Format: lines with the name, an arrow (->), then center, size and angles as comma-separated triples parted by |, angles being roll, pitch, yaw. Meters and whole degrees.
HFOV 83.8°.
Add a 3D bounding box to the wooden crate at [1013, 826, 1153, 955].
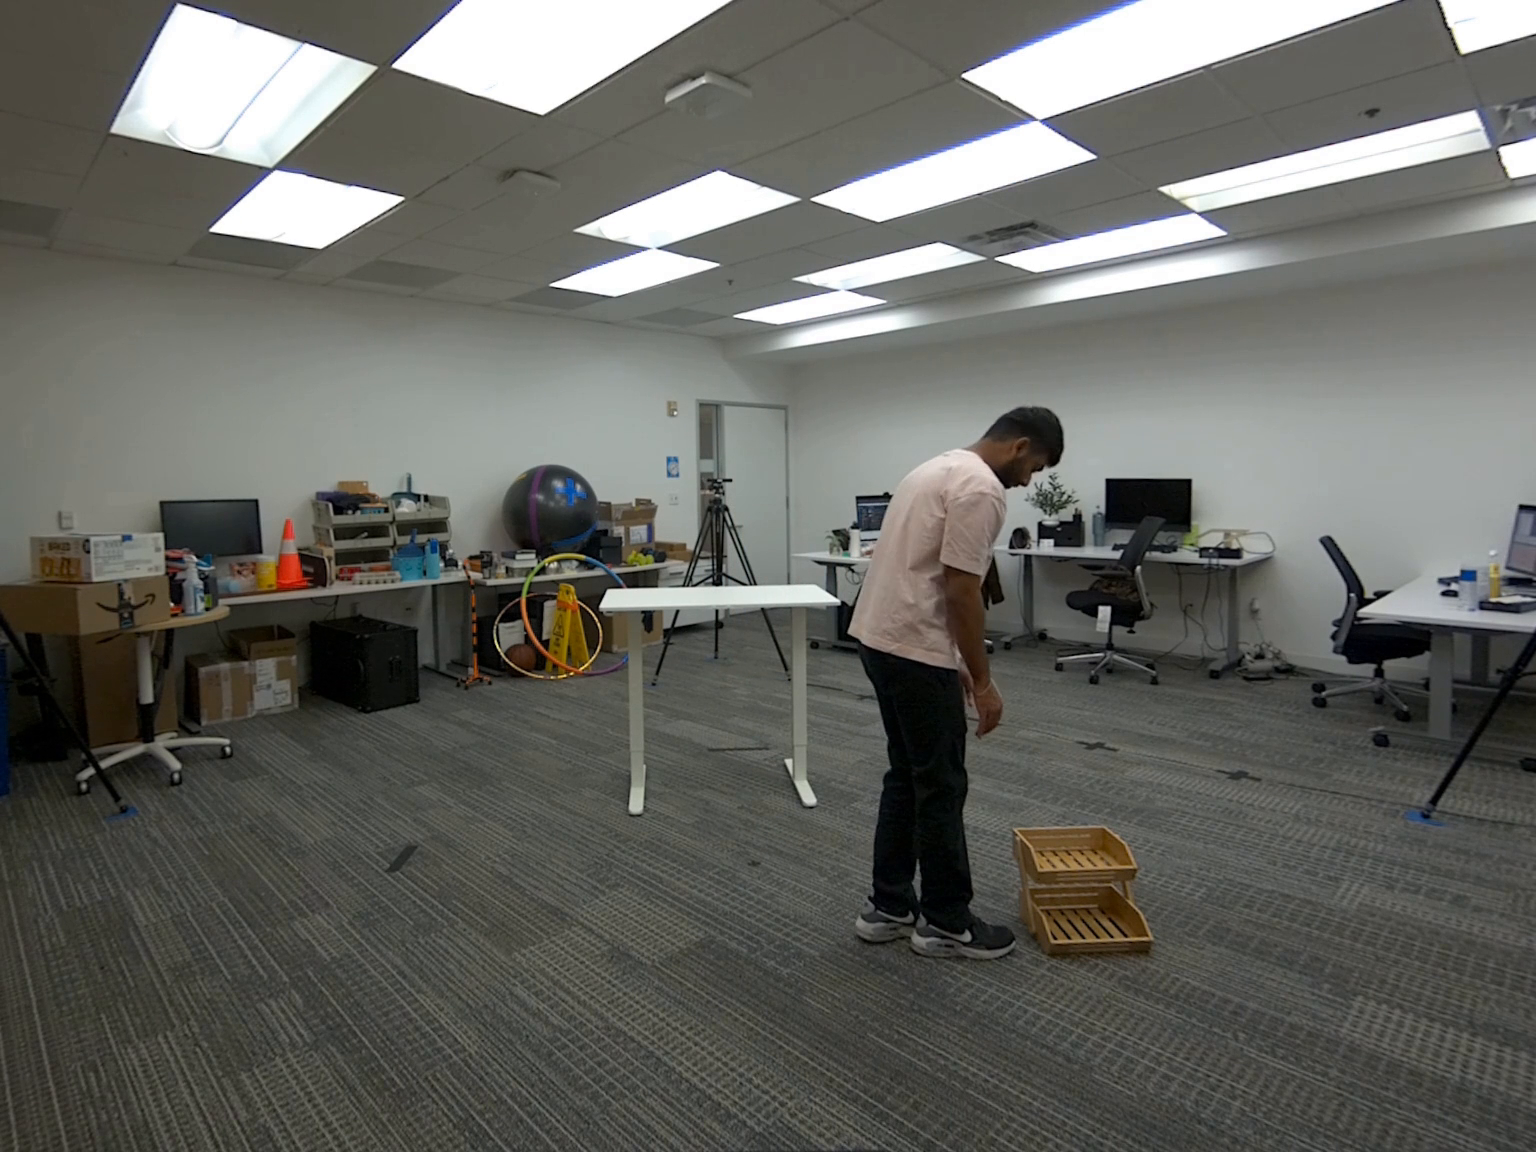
wooden crate -> 0.958, 0.953, 2.601 | 0.323, 0.272, 0.304 | -2, 4, -3
